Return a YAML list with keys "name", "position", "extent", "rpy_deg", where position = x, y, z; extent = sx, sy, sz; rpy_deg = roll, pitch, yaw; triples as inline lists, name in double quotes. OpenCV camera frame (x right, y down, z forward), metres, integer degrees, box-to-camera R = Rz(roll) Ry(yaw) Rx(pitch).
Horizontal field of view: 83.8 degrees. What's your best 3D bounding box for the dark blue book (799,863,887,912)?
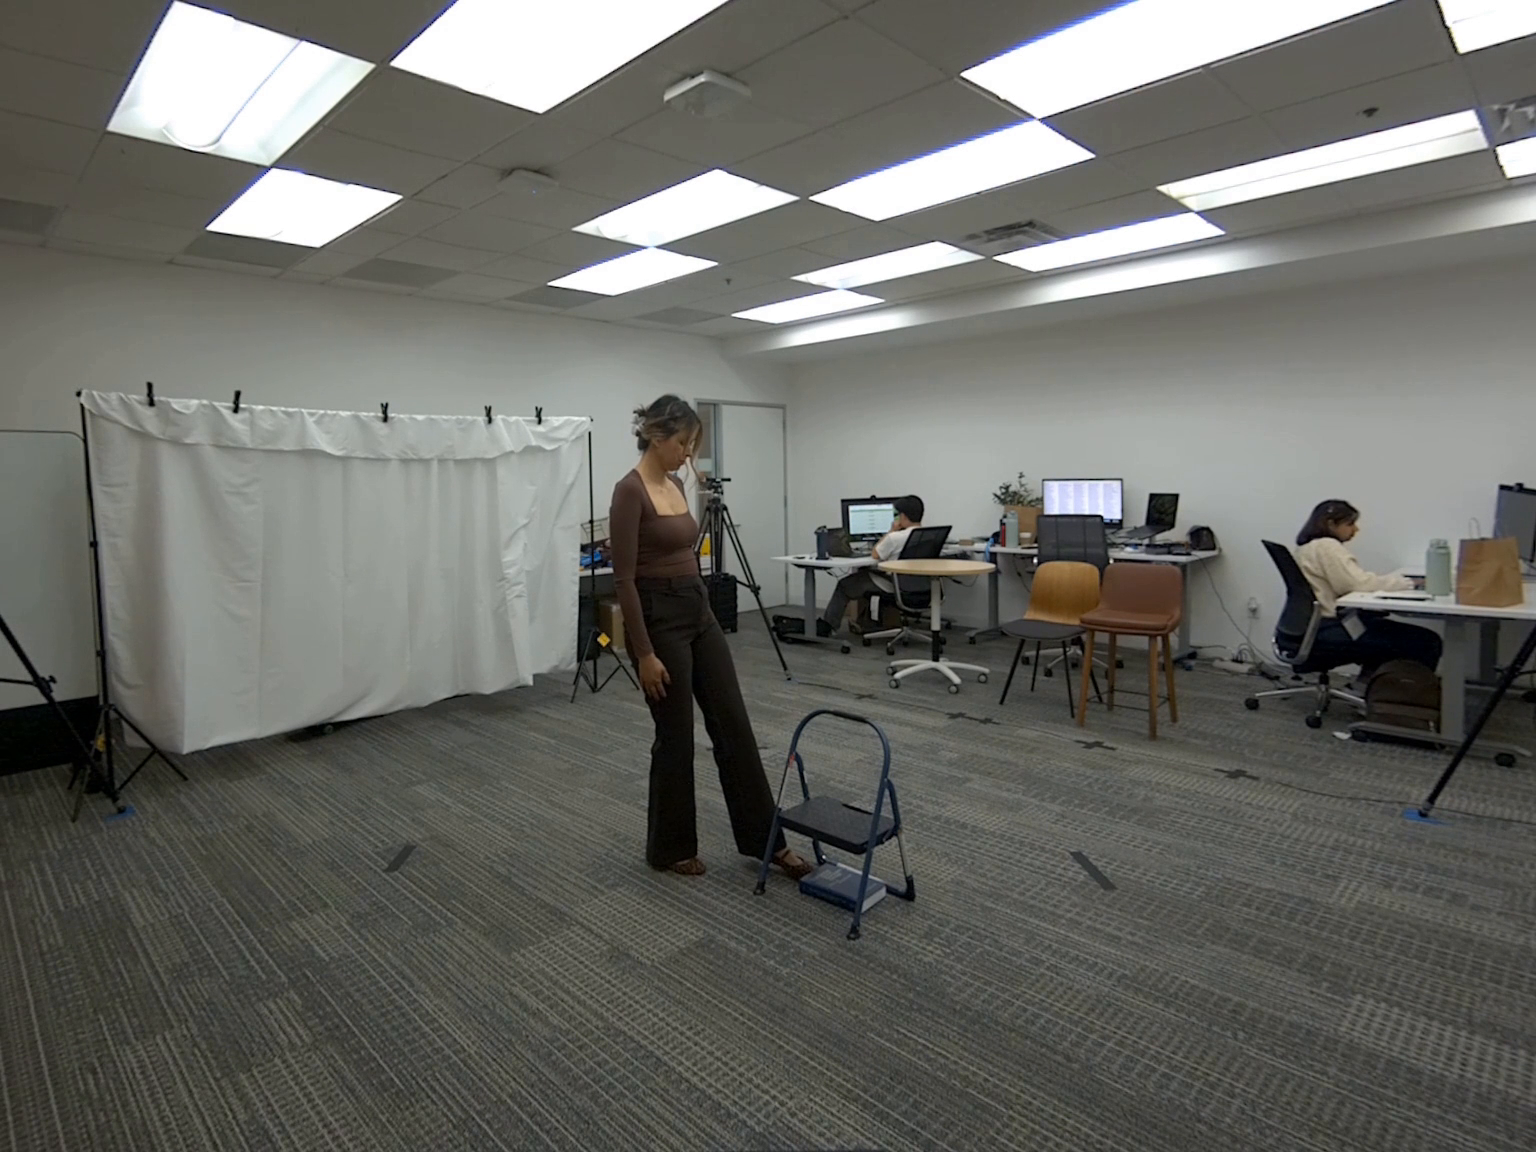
- name: "dark blue book"
  position: [0.250, 1.035, 2.856]
  extent: [0.252, 0.045, 0.159]
  rpy_deg: [4, 8, 40]
